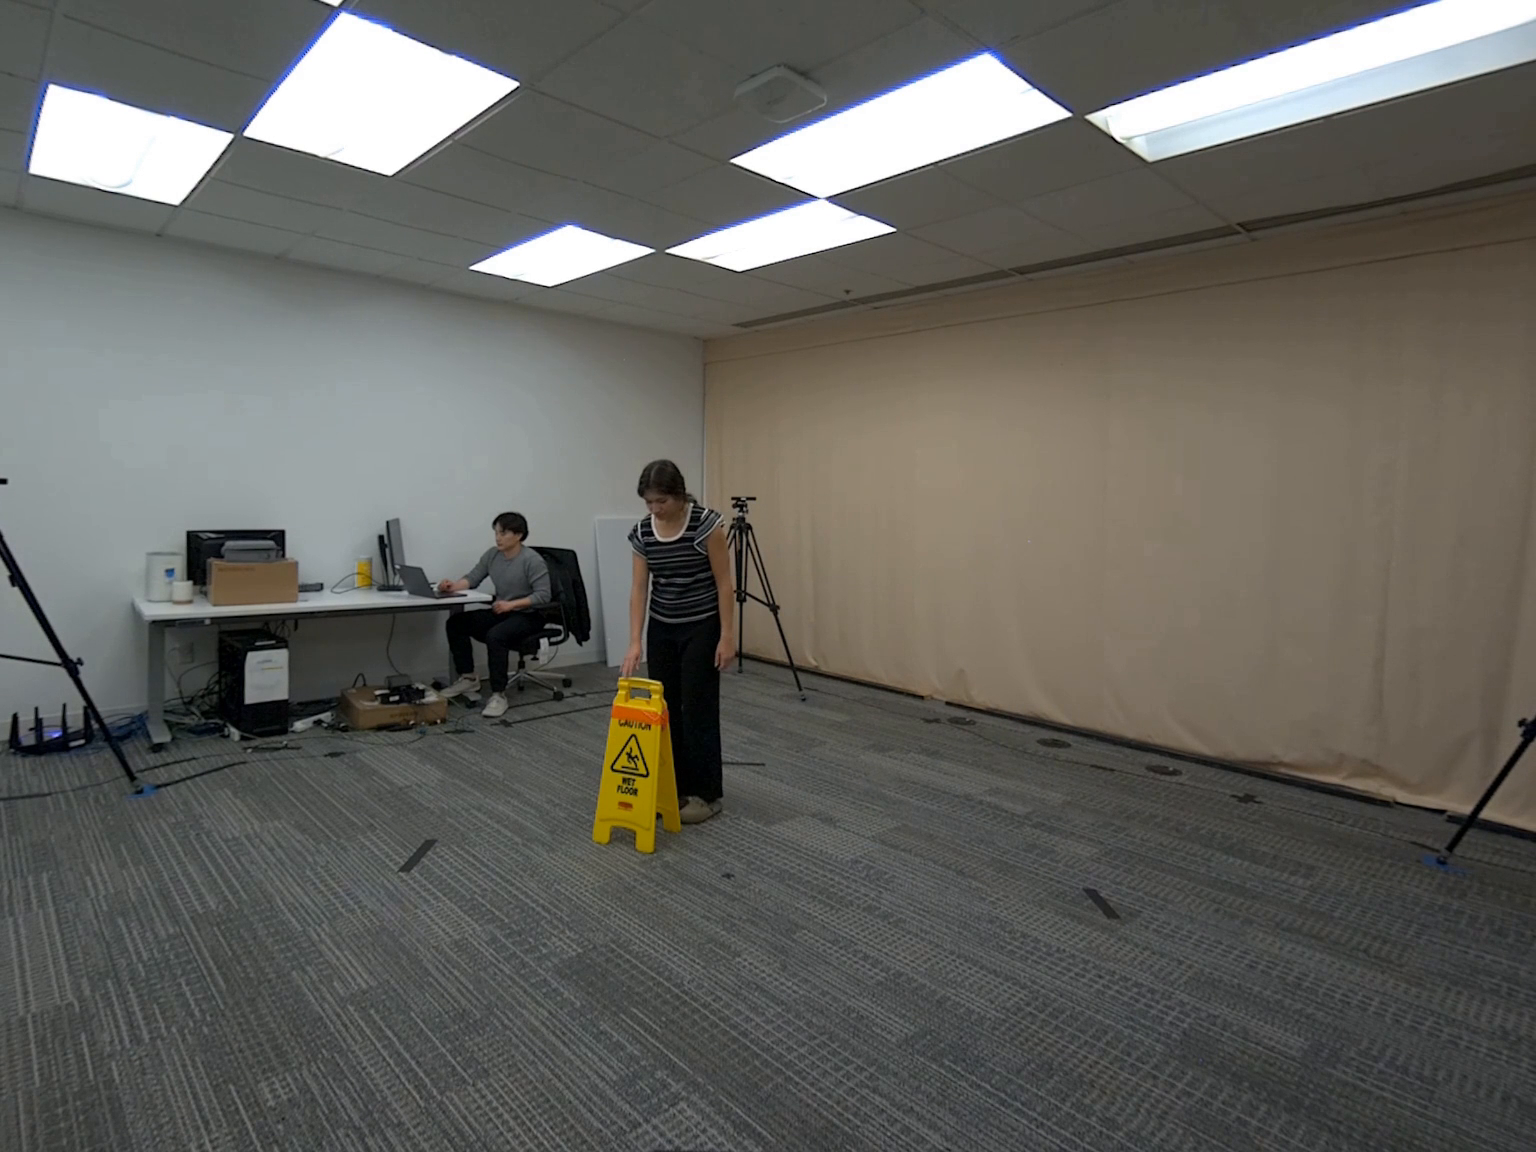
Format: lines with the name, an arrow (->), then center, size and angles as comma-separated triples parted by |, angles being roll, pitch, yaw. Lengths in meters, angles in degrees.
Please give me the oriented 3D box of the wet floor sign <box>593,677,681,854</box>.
wet floor sign -> -0.537, 0.746, 3.442 | 0.287, 0.644, 0.285 | 4, 4, 21
